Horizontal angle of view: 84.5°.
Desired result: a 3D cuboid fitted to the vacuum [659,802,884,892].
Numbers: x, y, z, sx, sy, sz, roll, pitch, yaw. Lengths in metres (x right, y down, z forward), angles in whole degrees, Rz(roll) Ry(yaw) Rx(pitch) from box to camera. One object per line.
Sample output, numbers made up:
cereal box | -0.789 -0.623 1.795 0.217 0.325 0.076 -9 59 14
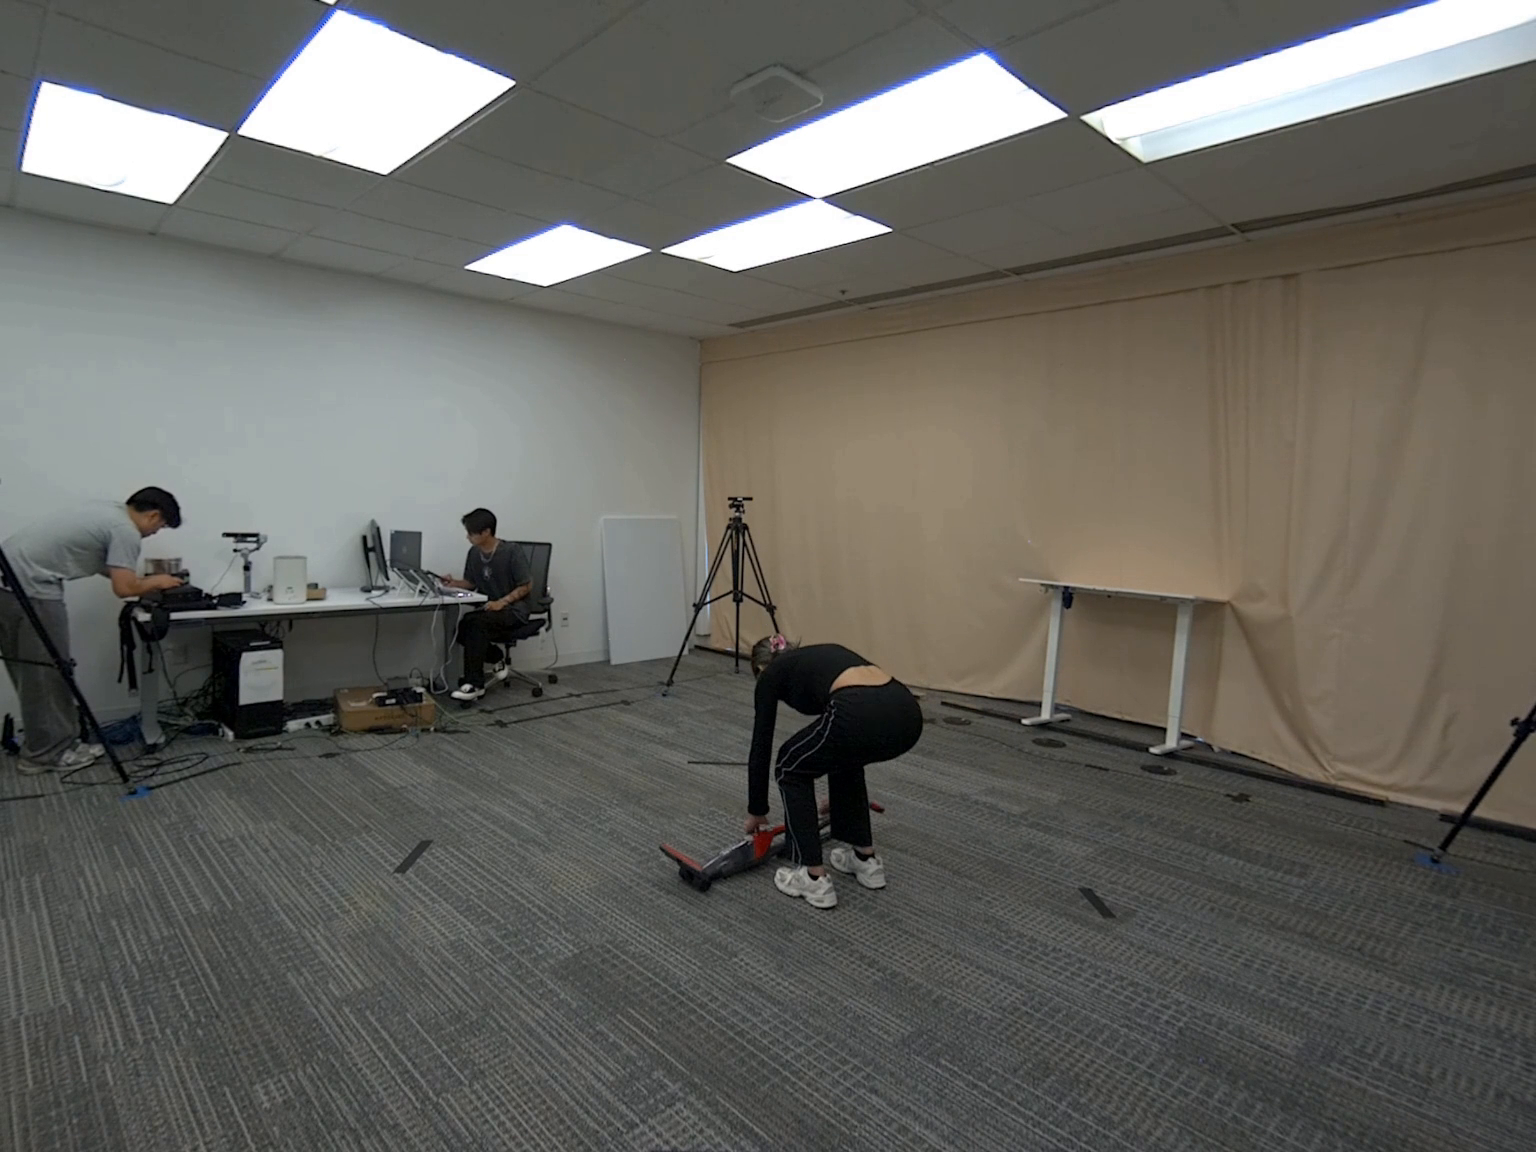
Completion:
vacuum | 0.089 1.034 3.331 1.025 0.143 0.259 -1 7 -40
